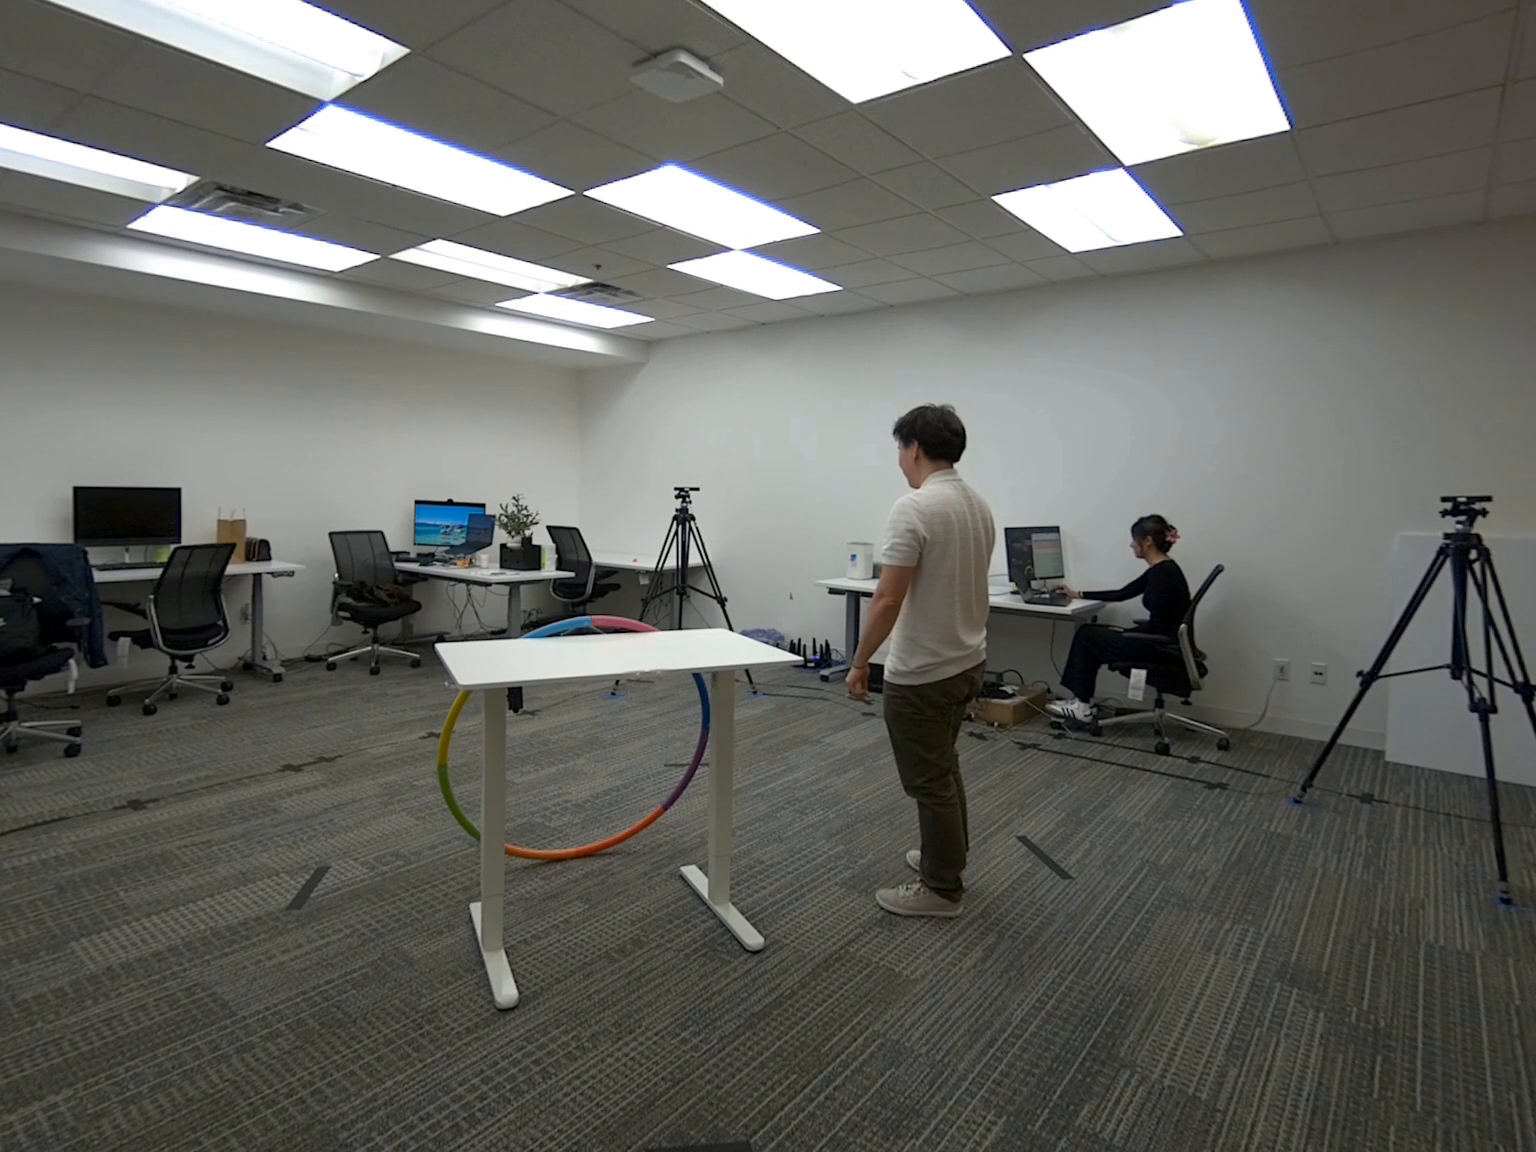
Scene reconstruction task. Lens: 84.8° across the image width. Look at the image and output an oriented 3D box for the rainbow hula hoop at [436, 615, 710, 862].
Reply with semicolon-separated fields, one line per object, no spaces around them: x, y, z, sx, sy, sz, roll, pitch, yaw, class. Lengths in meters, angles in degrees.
-0.685;0.601;3.046;0.956;0.965;0.037;-1;20;-24;rainbow hula hoop
